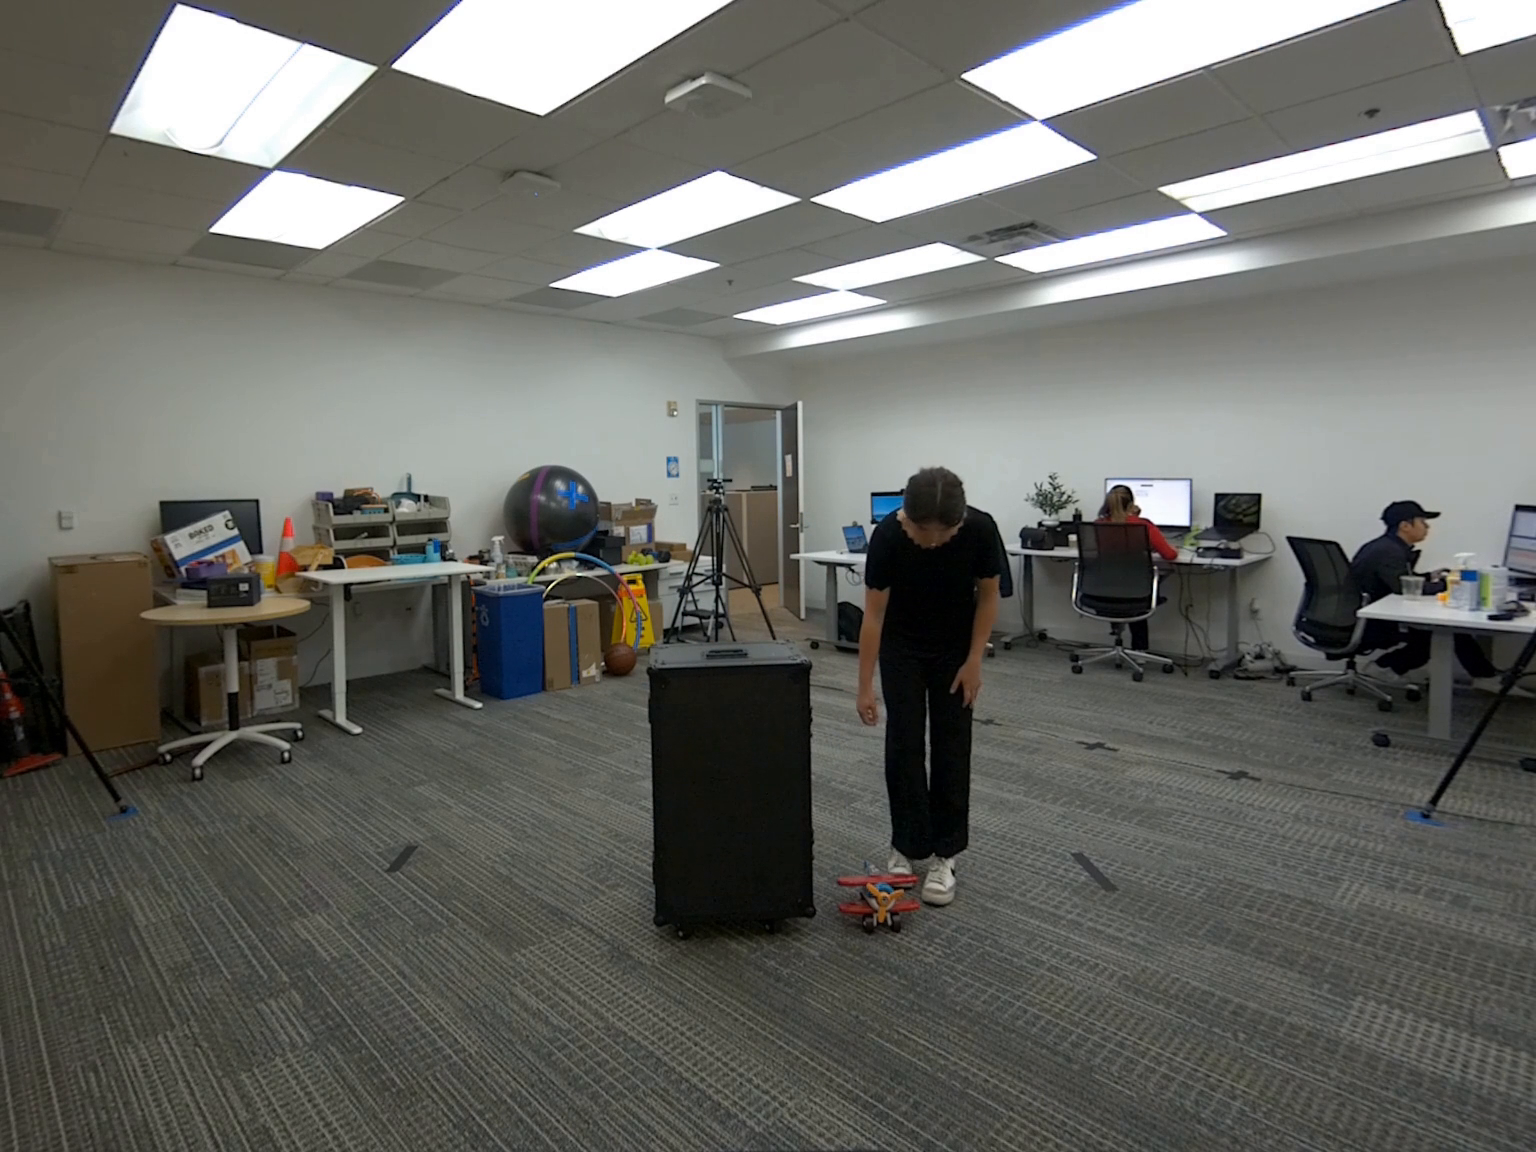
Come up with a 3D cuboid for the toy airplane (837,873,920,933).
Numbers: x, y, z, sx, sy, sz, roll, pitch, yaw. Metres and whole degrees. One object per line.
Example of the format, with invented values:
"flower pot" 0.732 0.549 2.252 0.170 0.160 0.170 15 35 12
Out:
"toy airplane" 0.319 1.009 2.700 0.245 0.156 0.267 -4 7 -32
